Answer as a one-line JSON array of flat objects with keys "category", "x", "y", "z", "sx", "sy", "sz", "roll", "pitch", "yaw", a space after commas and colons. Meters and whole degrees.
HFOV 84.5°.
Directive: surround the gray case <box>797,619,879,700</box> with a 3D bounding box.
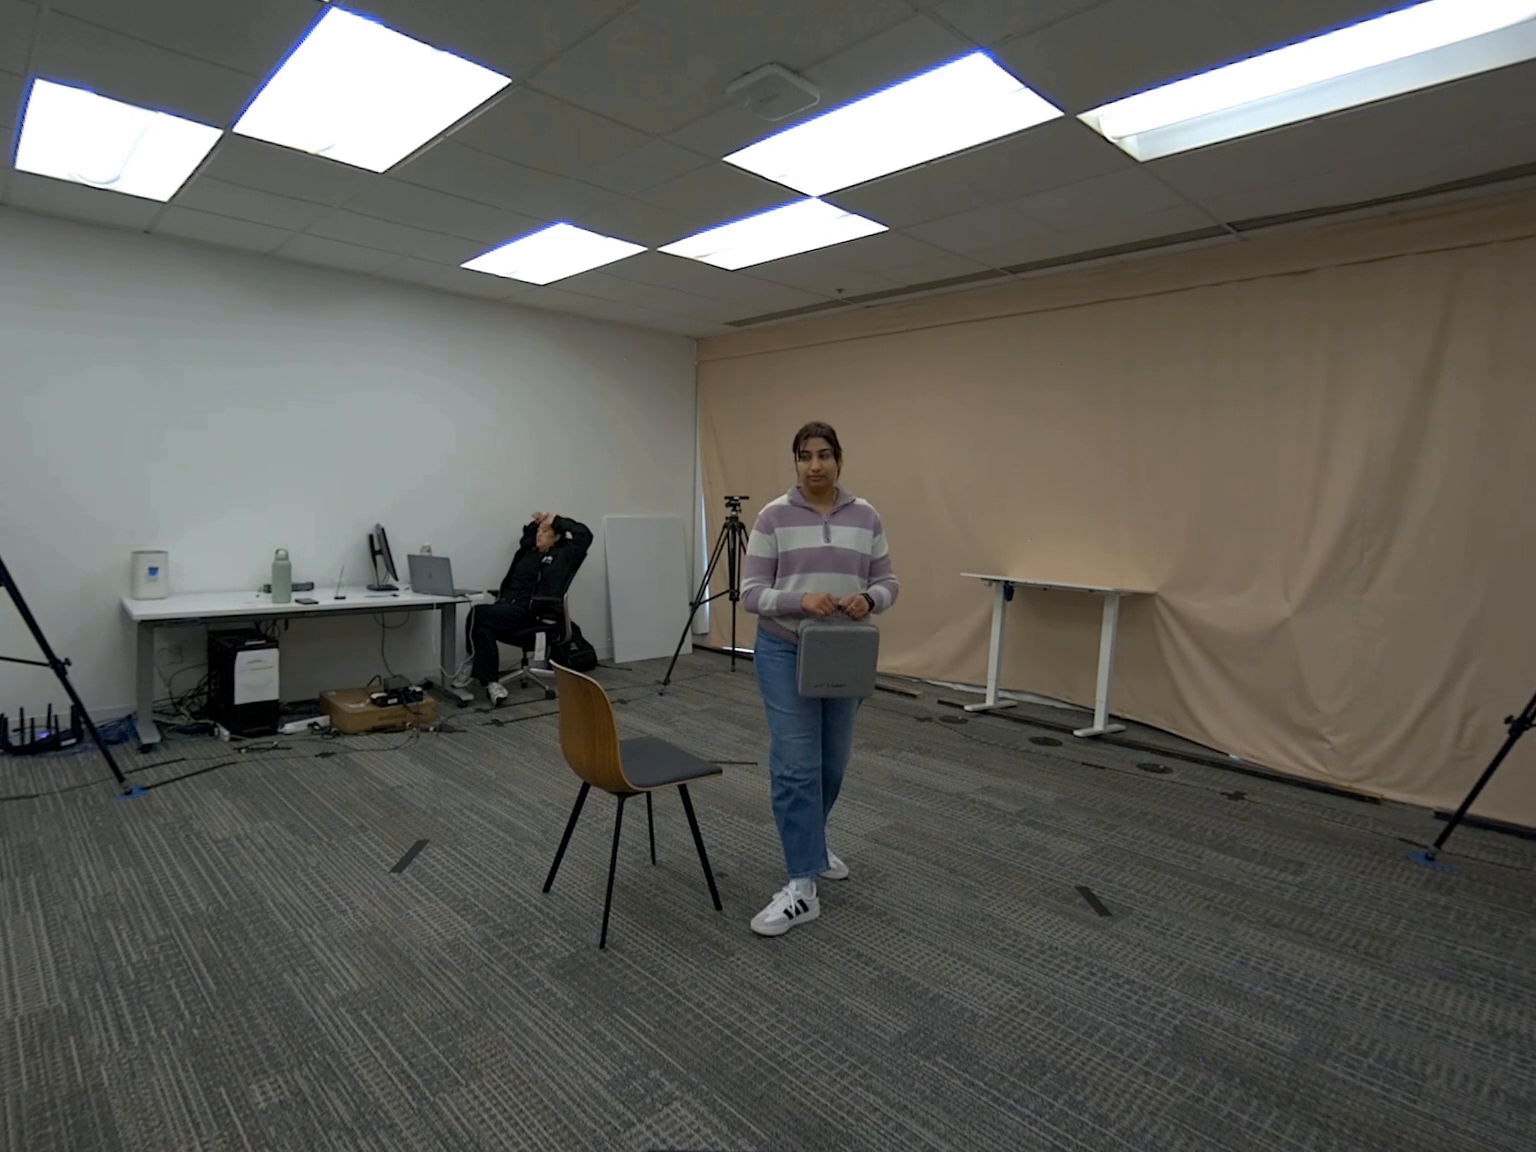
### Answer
[{"category": "gray case", "x": 0.206, "y": 0.257, "z": 2.742, "sx": 0.255, "sy": 0.258, "sz": 0.106, "roll": -1, "pitch": 14, "yaw": -9}]
